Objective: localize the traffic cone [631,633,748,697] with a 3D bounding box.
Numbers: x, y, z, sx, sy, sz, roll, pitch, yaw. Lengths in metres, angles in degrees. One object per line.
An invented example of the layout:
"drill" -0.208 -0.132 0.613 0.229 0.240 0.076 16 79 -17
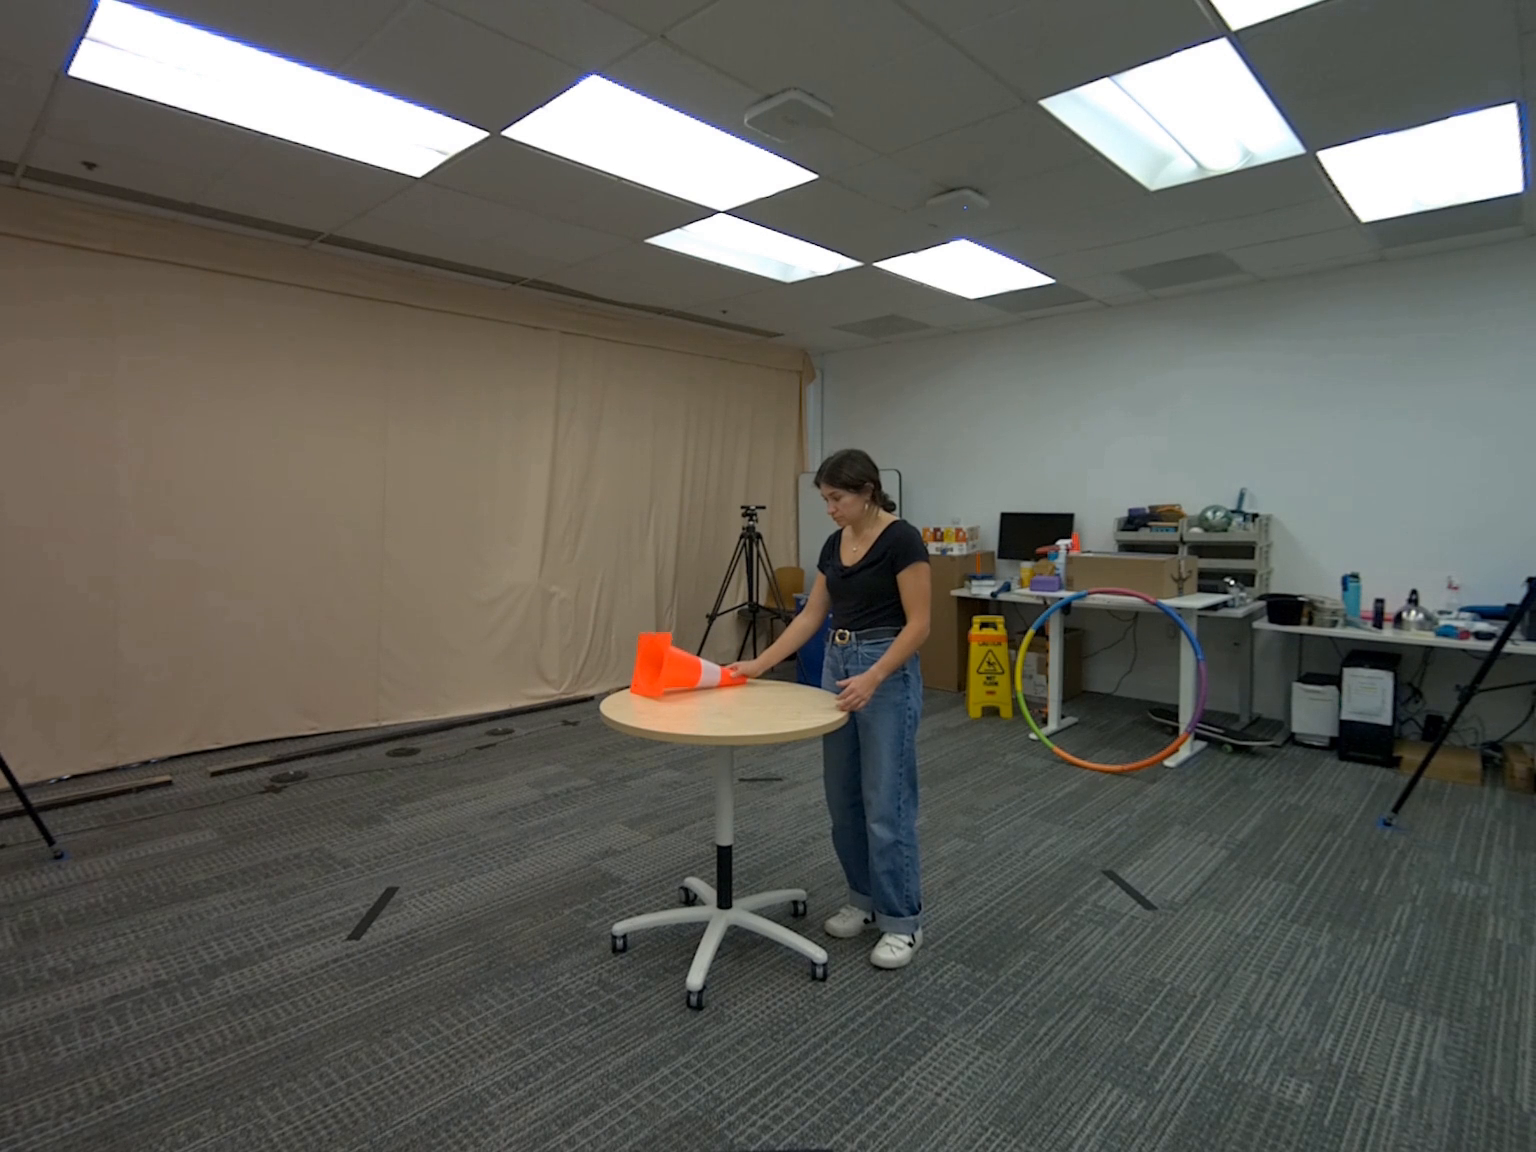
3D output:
"traffic cone" -0.222 0.325 2.793 0.372 0.204 0.210 15 -13 -31
